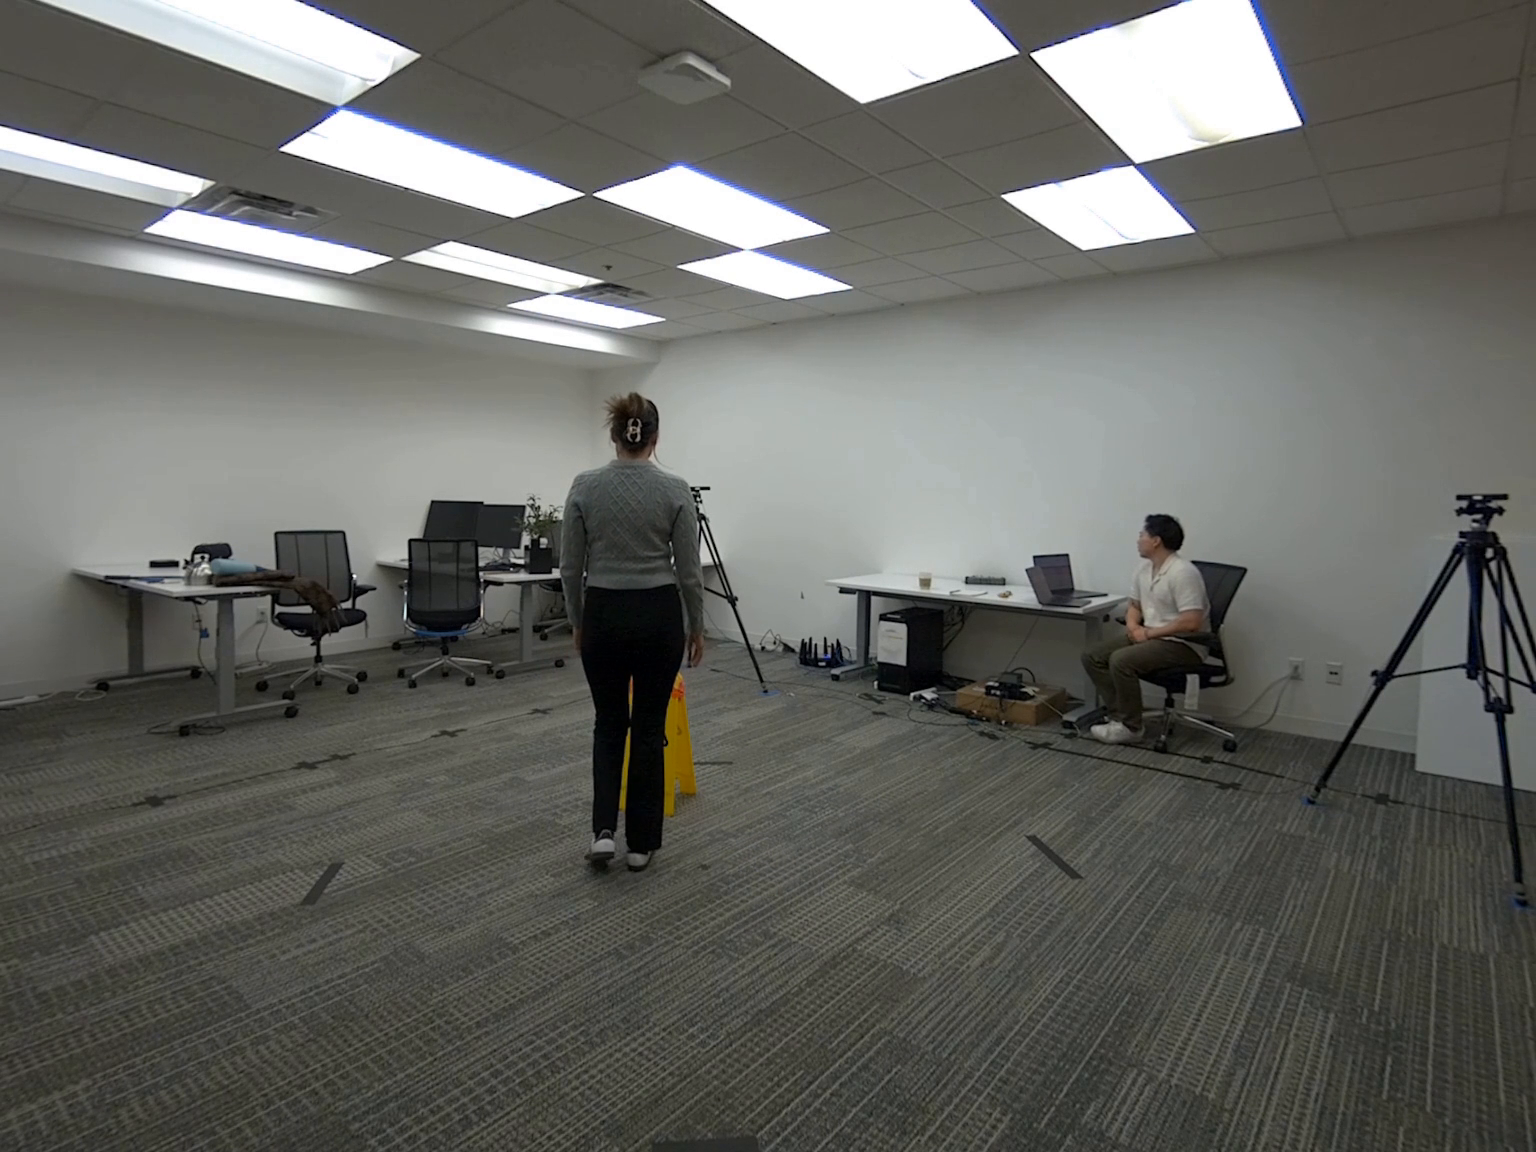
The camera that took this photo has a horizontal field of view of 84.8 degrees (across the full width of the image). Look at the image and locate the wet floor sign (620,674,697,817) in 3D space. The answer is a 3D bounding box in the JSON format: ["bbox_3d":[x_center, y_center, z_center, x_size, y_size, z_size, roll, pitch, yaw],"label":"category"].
[{"bbox_3d":[-0.503,0.674,3.766,0.288,0.645,0.284,2,2,18],"label":"wet floor sign"}]
